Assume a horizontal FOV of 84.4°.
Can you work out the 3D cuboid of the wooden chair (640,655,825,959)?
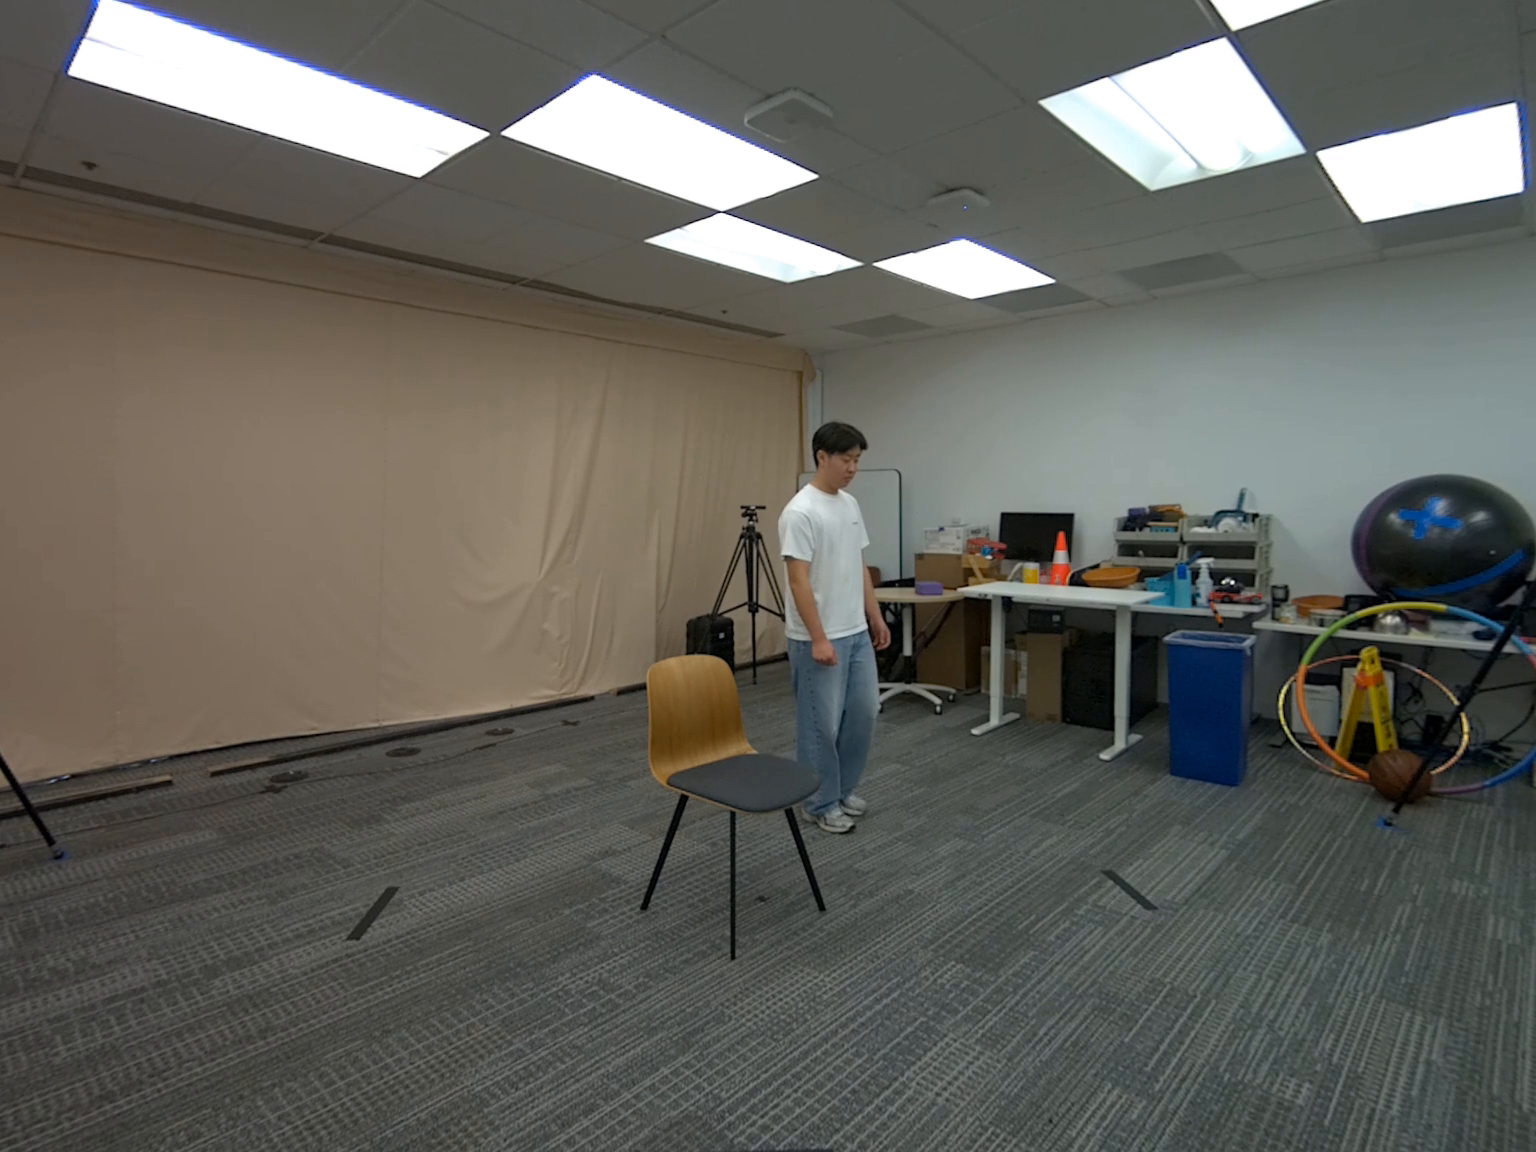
[{"bbox_3d":[-0.117,0.729,2.859,0.539,0.877,0.463,-3,0,45],"label":"wooden chair"}]
